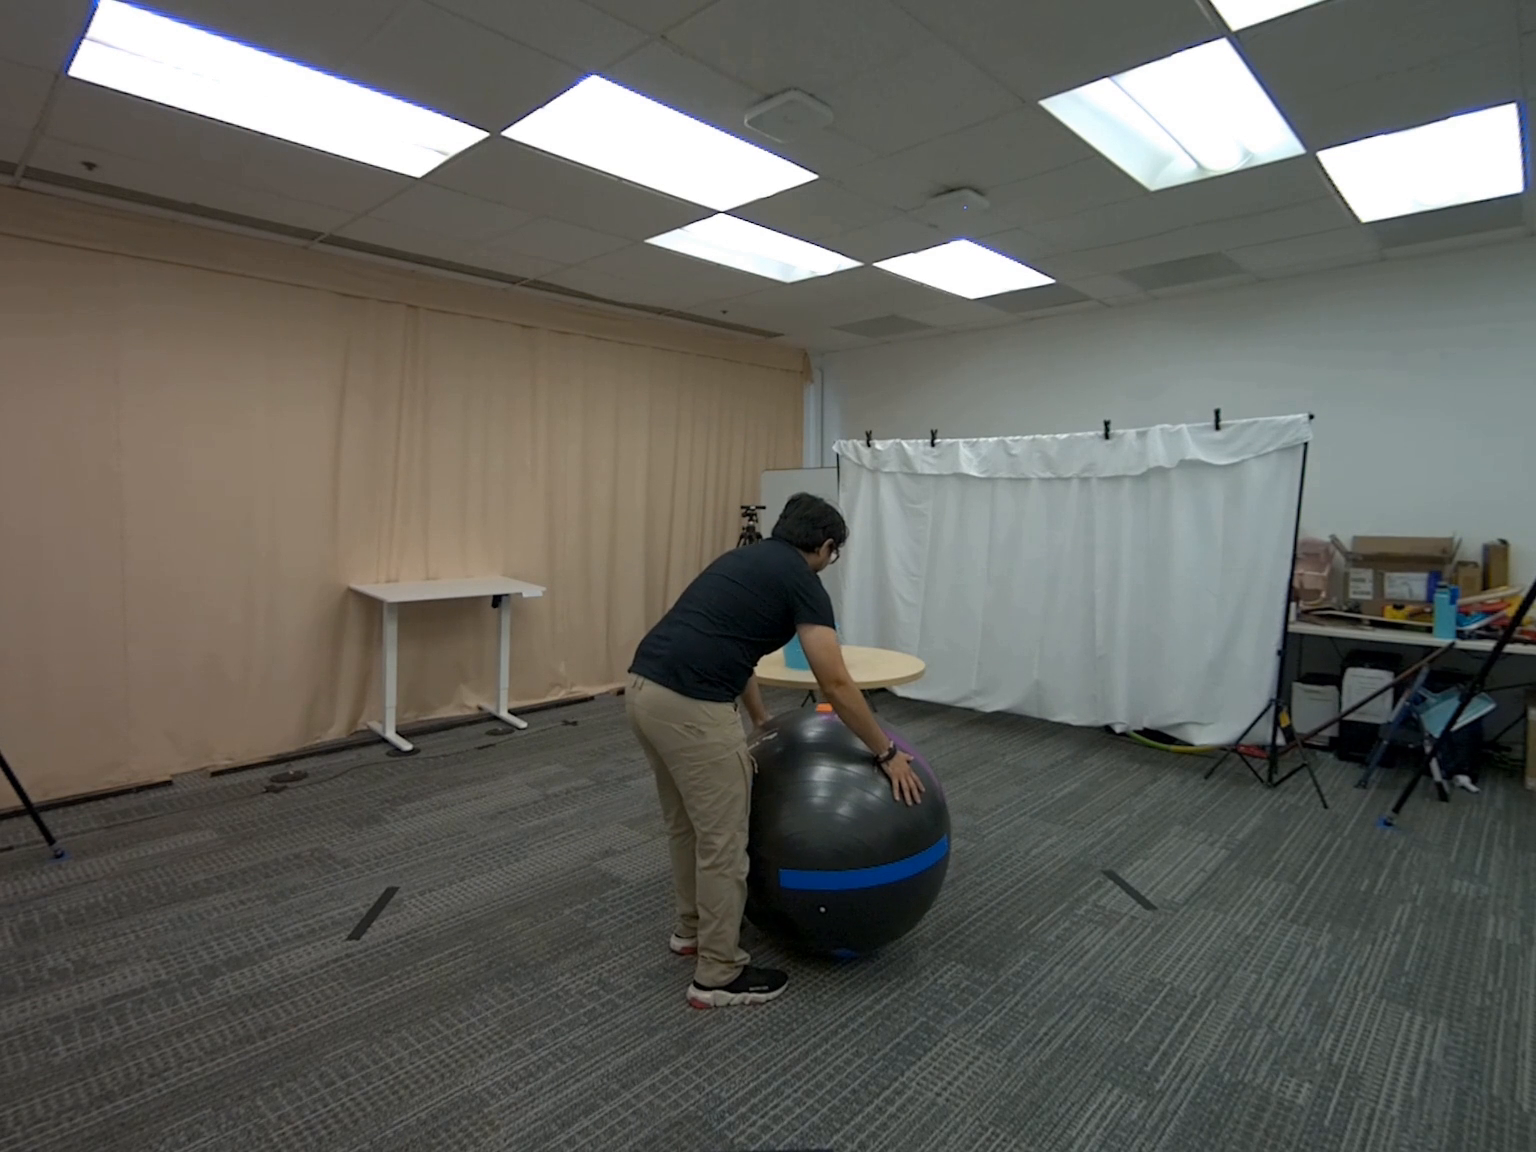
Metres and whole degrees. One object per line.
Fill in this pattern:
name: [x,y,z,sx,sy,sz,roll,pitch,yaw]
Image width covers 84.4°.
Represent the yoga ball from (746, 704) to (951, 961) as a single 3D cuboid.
yoga ball: [0.207,0.809,2.679,0.757,0.756,0.760,0,4,-2]
